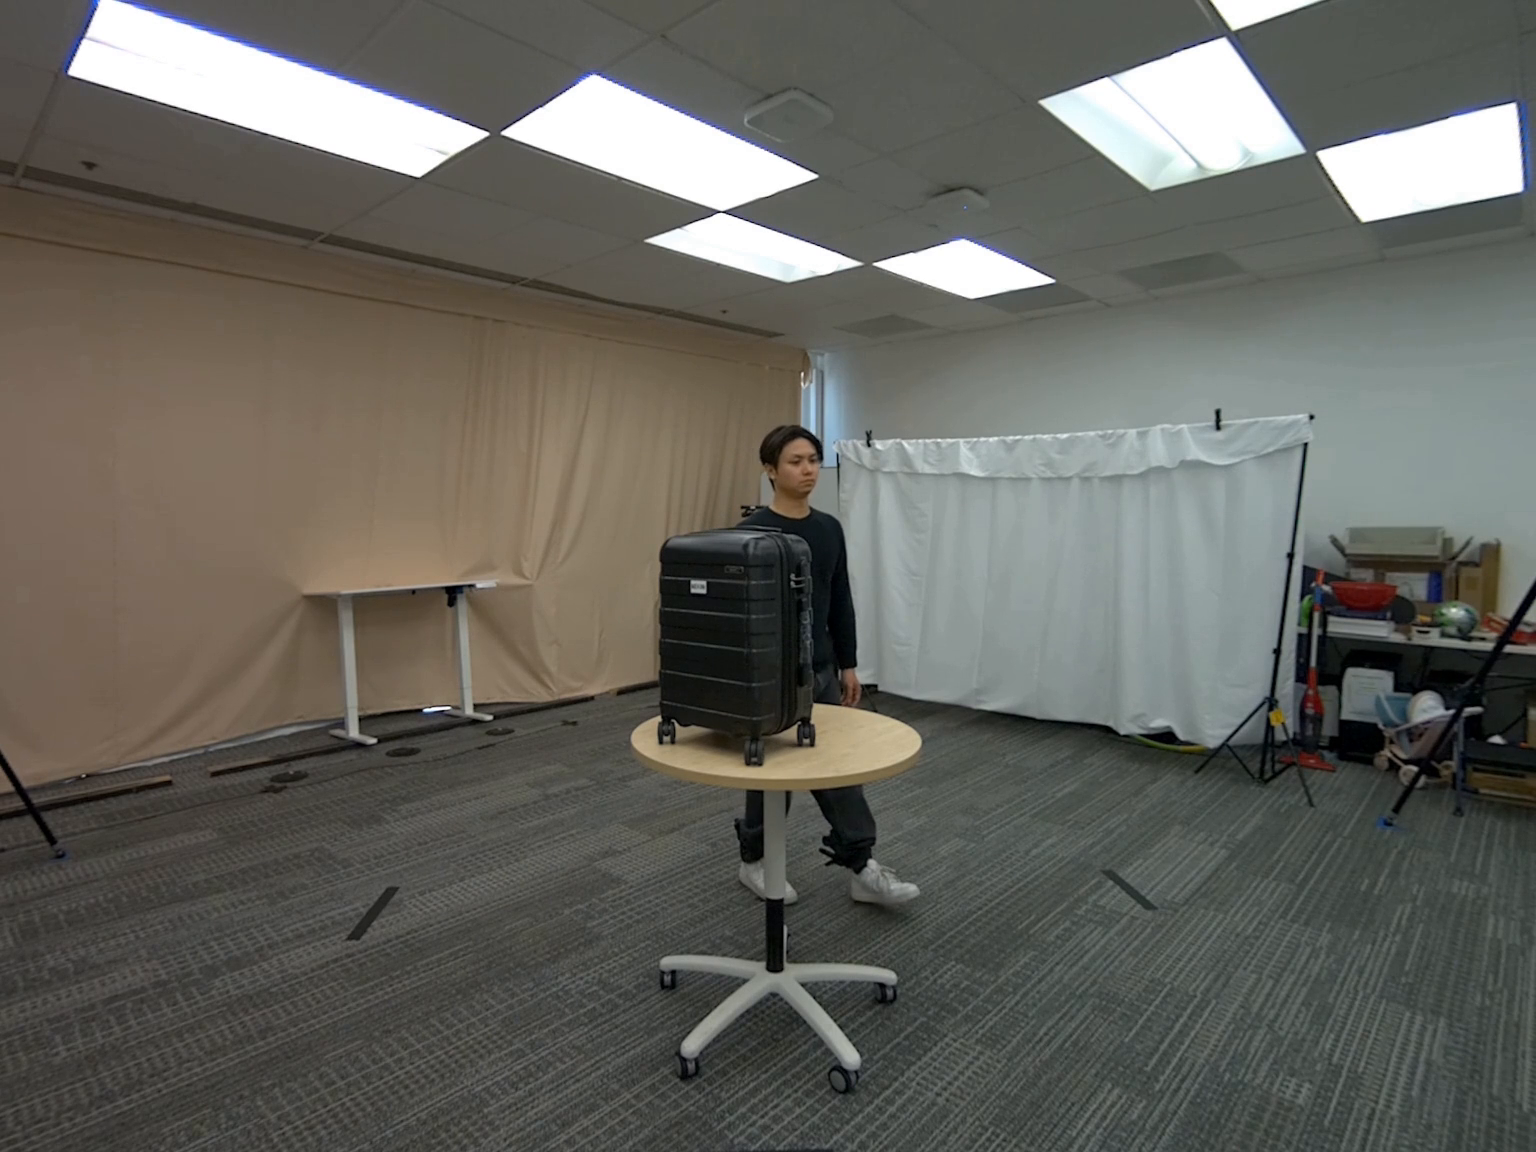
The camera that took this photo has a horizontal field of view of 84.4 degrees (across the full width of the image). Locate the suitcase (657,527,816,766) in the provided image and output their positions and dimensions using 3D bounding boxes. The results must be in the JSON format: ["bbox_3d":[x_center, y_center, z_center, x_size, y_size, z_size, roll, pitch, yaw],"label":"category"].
[{"bbox_3d":[-0.081,0.153,2.154,0.388,0.549,0.240,2,3,40],"label":"suitcase"}]
